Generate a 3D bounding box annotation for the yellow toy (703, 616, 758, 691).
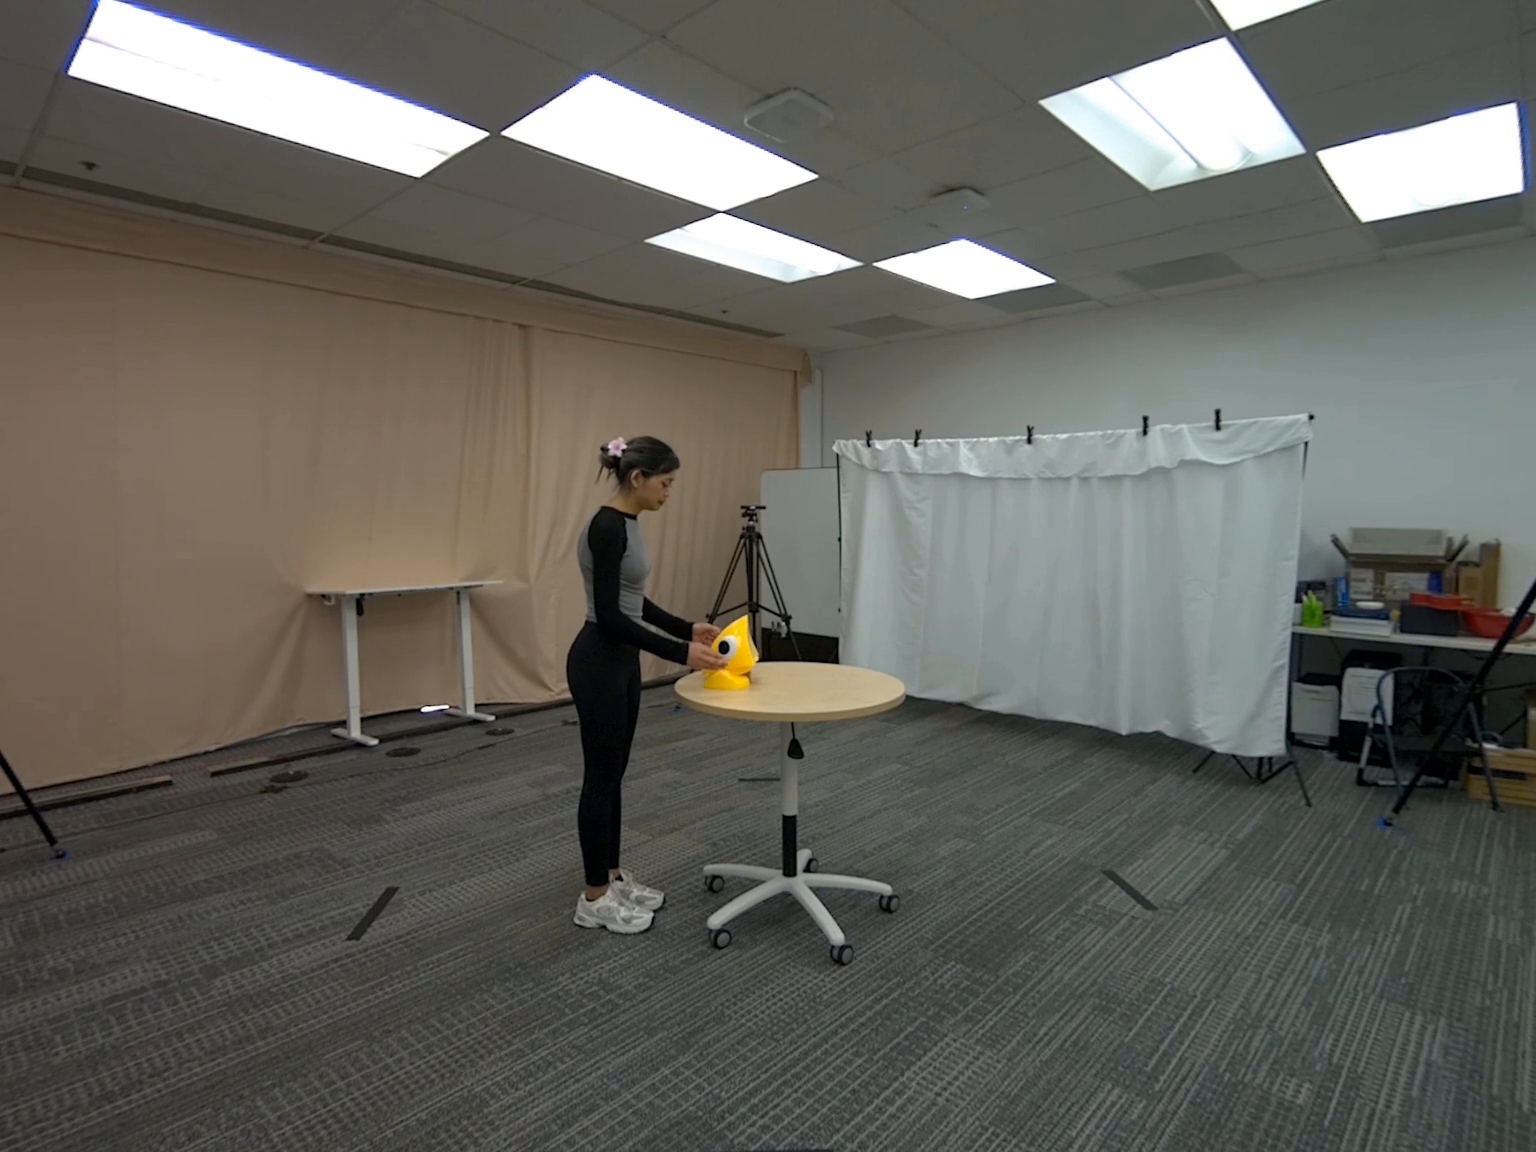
[{"bbox_3d":[-0.127,0.249,2.847,0.194,0.230,0.204,0,4,5],"label":"yellow toy"}]
